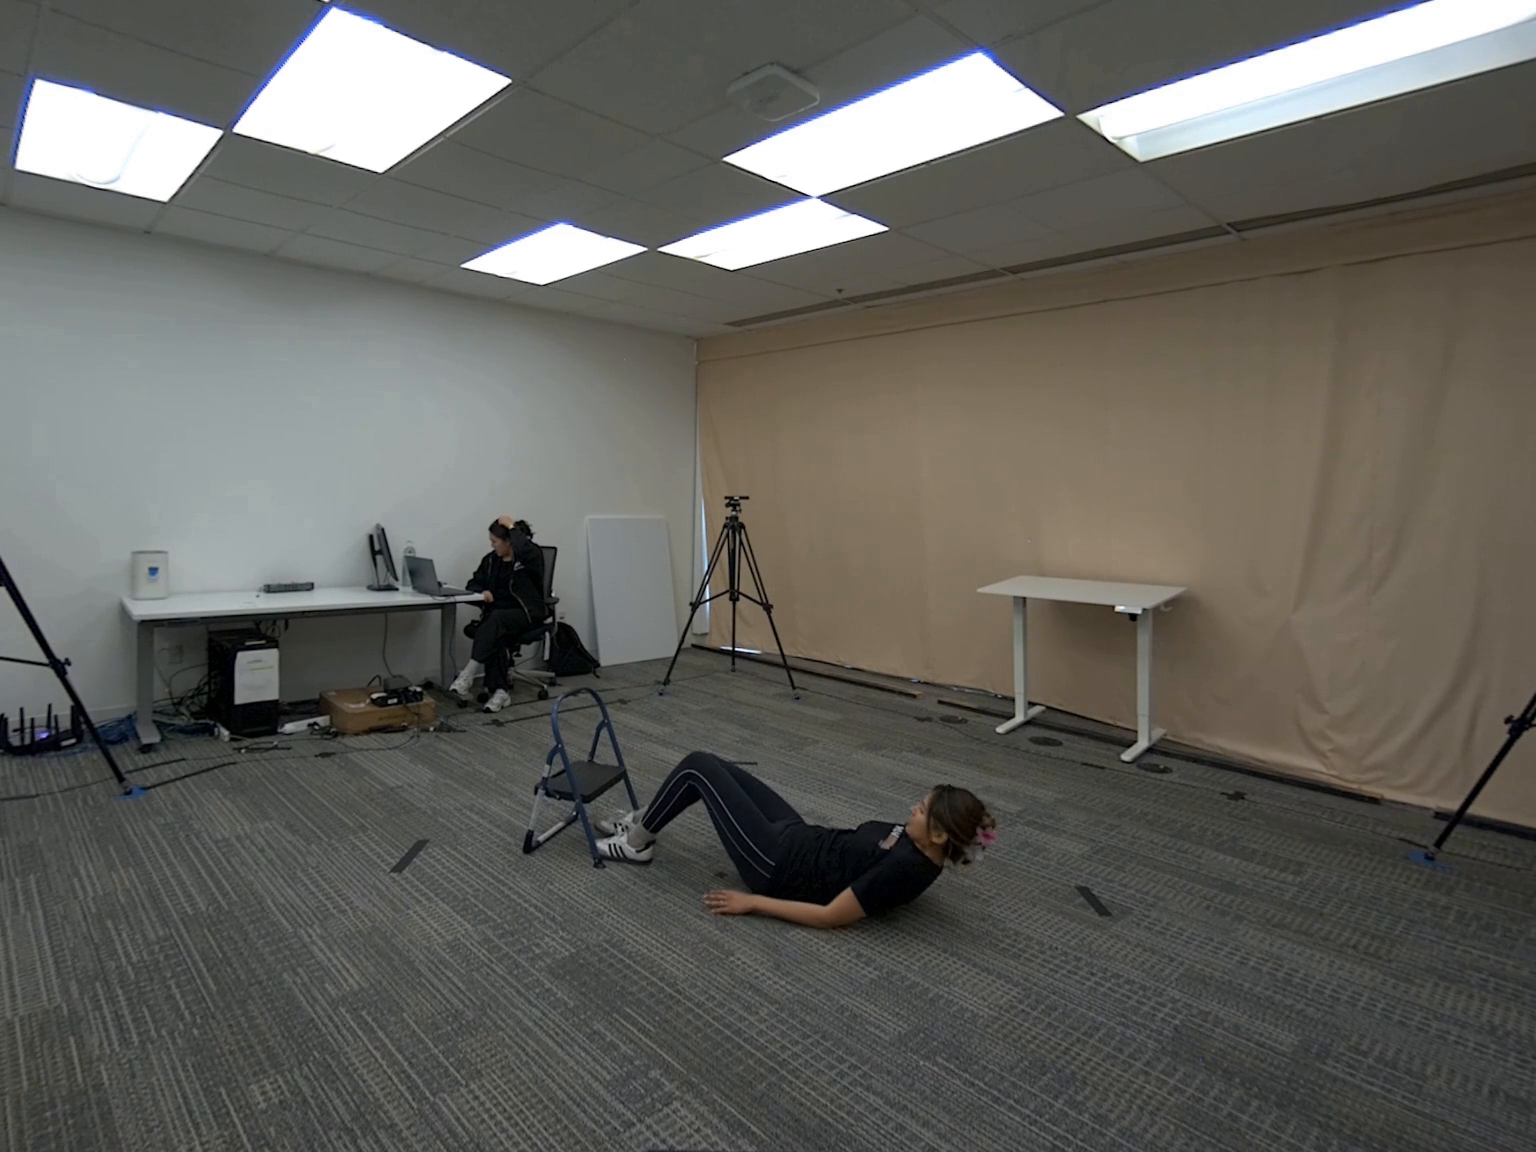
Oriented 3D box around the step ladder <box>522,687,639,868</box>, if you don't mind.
[{"bbox_3d":[-0.728,0.761,3.374,0.354,0.604,0.426,2,4,16],"label":"step ladder"}]
